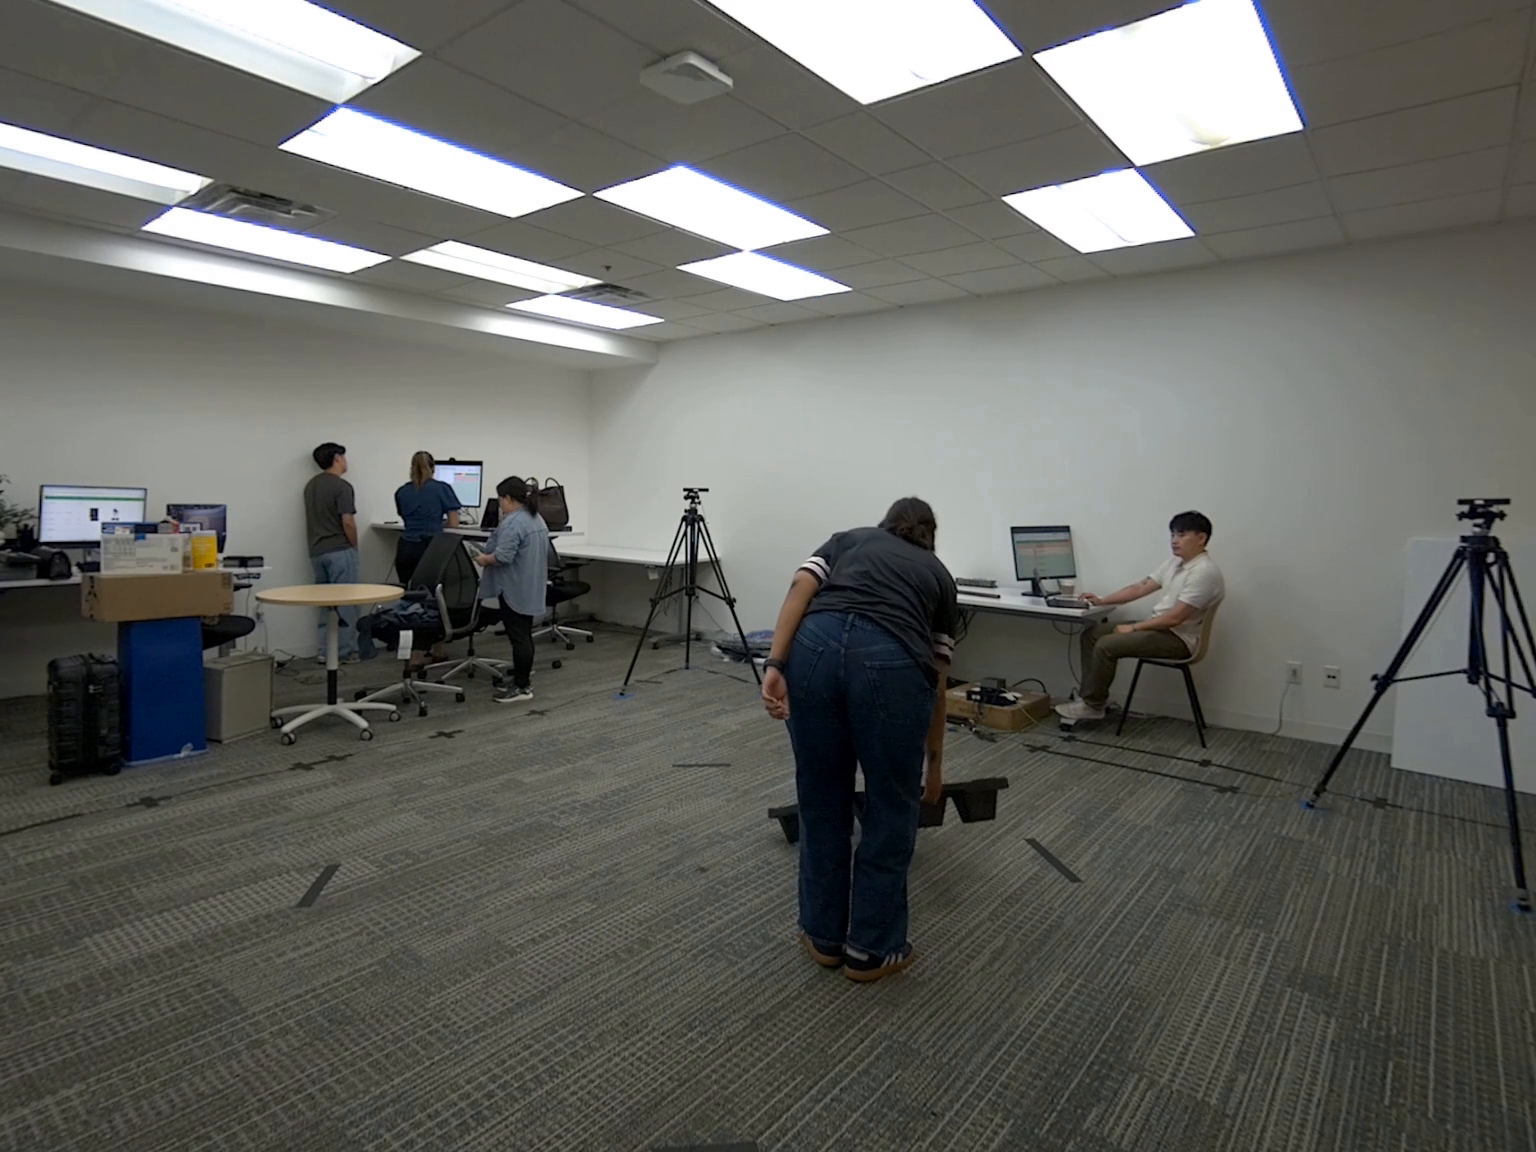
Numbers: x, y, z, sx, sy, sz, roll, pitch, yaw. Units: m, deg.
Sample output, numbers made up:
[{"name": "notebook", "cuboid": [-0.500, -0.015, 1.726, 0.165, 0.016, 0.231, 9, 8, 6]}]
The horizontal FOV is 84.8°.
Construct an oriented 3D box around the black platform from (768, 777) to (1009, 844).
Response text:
[{"name": "black platform", "cuboid": [0.406, 0.866, 3.133, 0.593, 0.146, 0.806, -1, -18, -20]}]
